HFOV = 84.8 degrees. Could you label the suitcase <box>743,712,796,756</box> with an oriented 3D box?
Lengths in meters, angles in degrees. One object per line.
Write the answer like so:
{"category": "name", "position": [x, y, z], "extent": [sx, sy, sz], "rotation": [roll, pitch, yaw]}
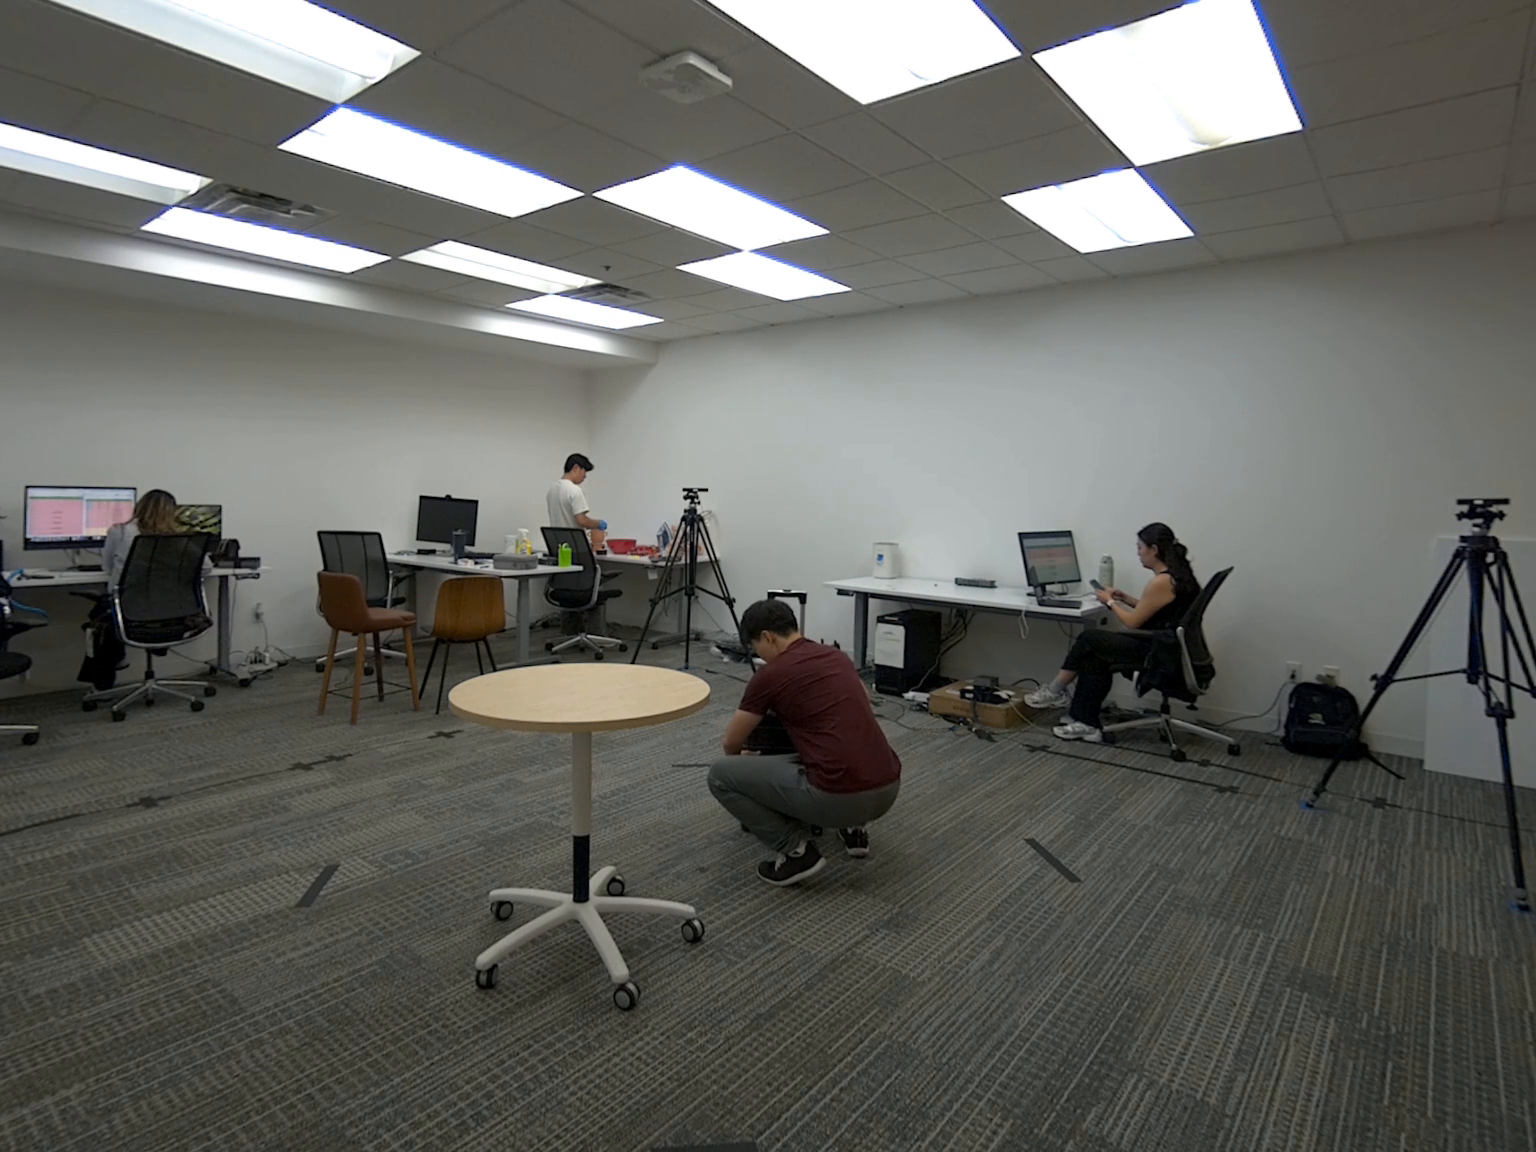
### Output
{"category": "suitcase", "position": [0.055, 0.550, 3.573], "extent": [0.387, 0.977, 0.255], "rotation": [1, 1, 6]}
